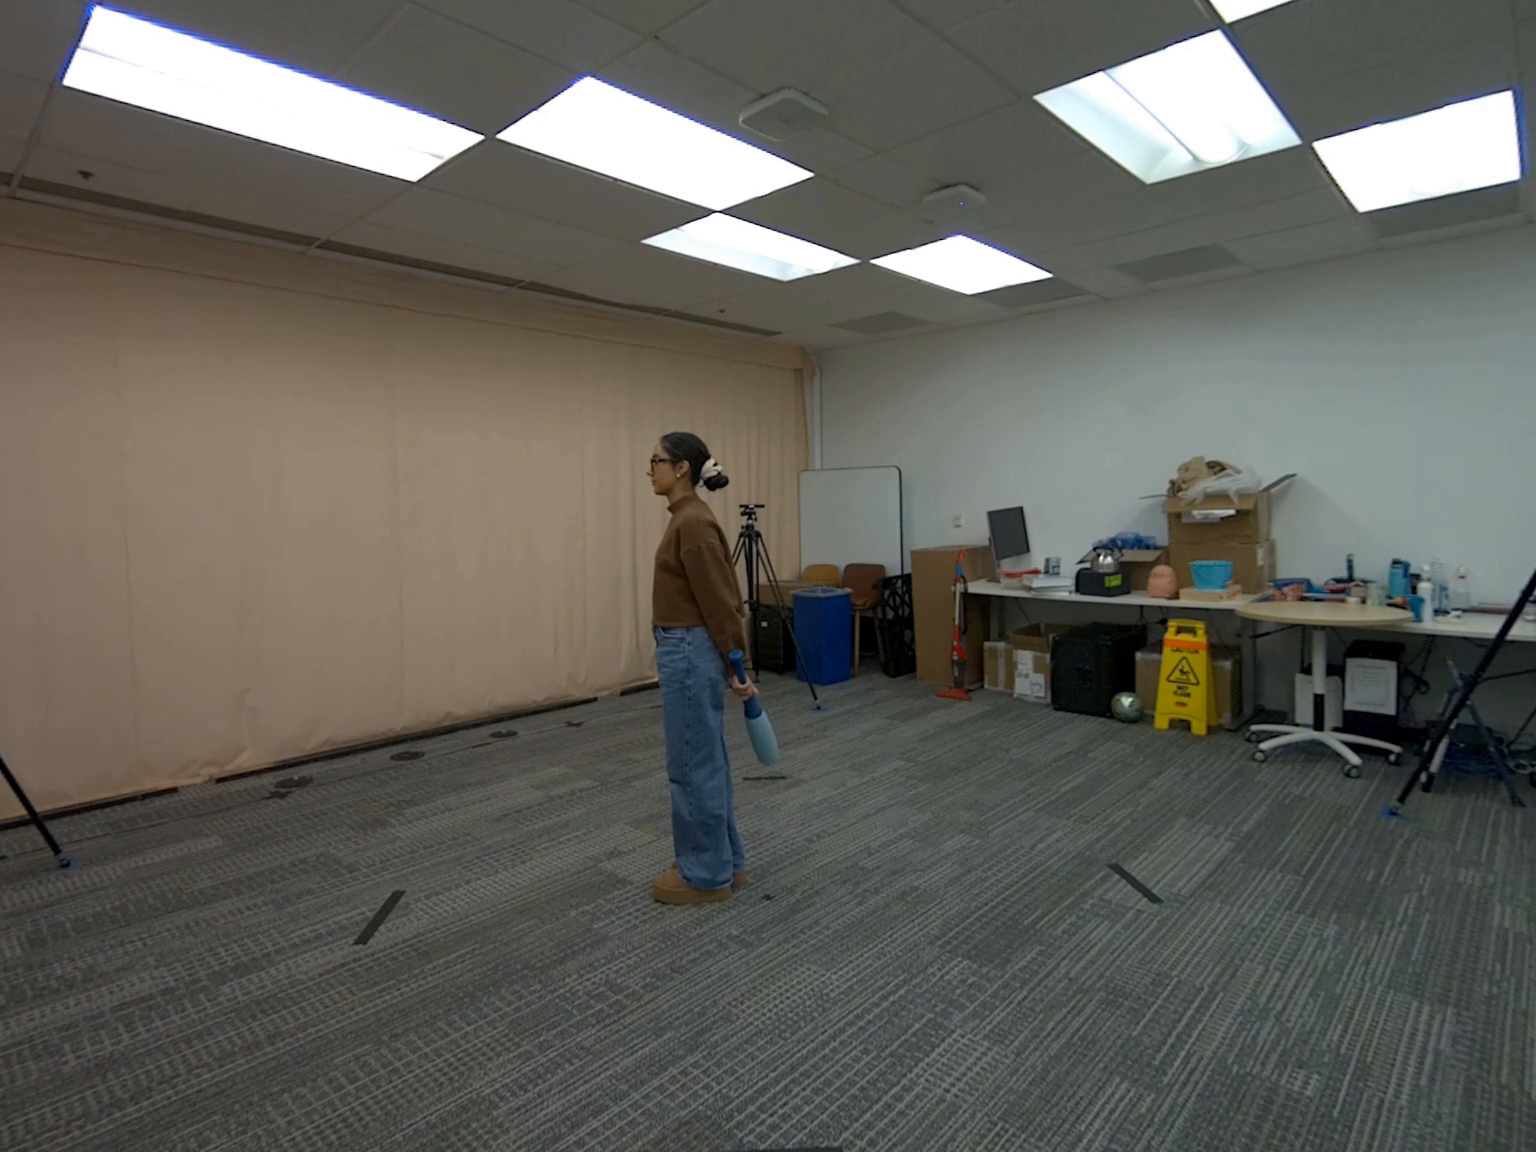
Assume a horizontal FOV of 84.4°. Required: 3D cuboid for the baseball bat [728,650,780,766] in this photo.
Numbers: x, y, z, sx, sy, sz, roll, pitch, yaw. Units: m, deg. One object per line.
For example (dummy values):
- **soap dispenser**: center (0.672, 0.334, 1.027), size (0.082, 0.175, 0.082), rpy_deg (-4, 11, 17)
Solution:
- **baseball bat**: center (-0.061, 0.459, 2.959), size (0.090, 0.529, 0.091), rpy_deg (-13, 35, 8)
